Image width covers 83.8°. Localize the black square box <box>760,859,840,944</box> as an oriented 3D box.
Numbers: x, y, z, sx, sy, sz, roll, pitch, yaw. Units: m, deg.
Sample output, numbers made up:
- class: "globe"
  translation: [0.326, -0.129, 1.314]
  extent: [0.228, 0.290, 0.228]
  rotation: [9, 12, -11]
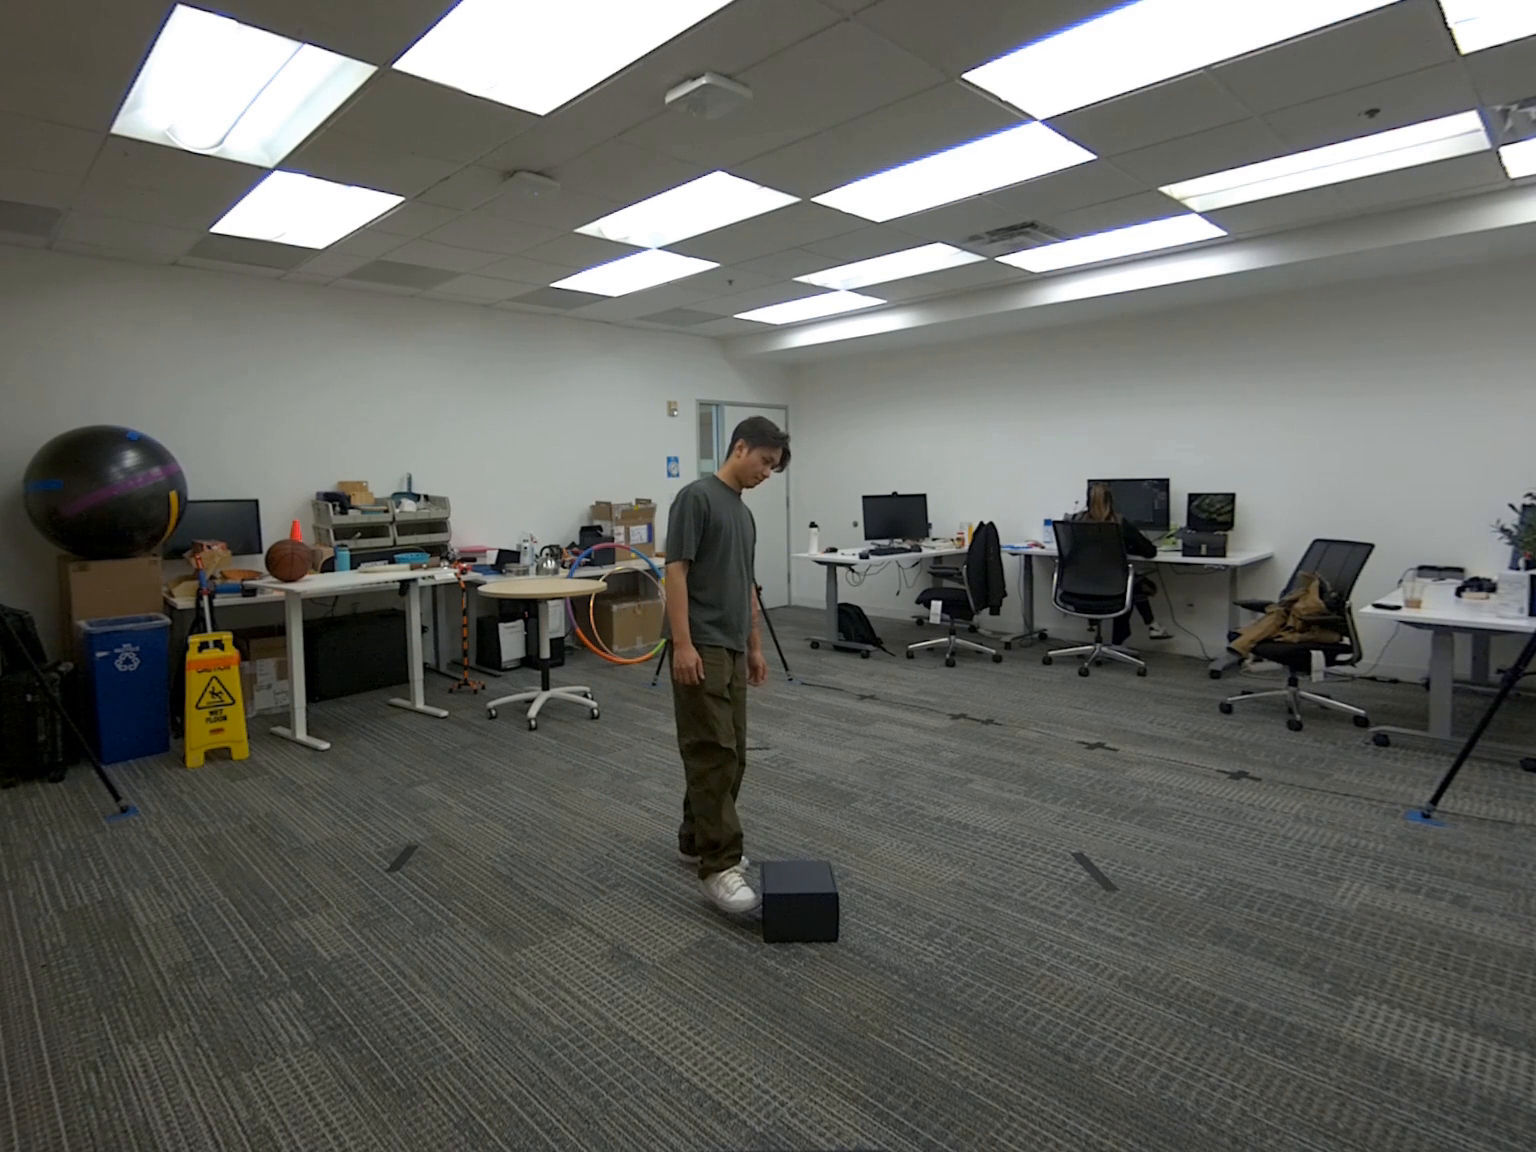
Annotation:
- class: "black square box"
  translation: [0.100, 1.005, 2.671]
  extent: [0.228, 0.155, 0.218]
  rotation: [-2, 6, -1]
